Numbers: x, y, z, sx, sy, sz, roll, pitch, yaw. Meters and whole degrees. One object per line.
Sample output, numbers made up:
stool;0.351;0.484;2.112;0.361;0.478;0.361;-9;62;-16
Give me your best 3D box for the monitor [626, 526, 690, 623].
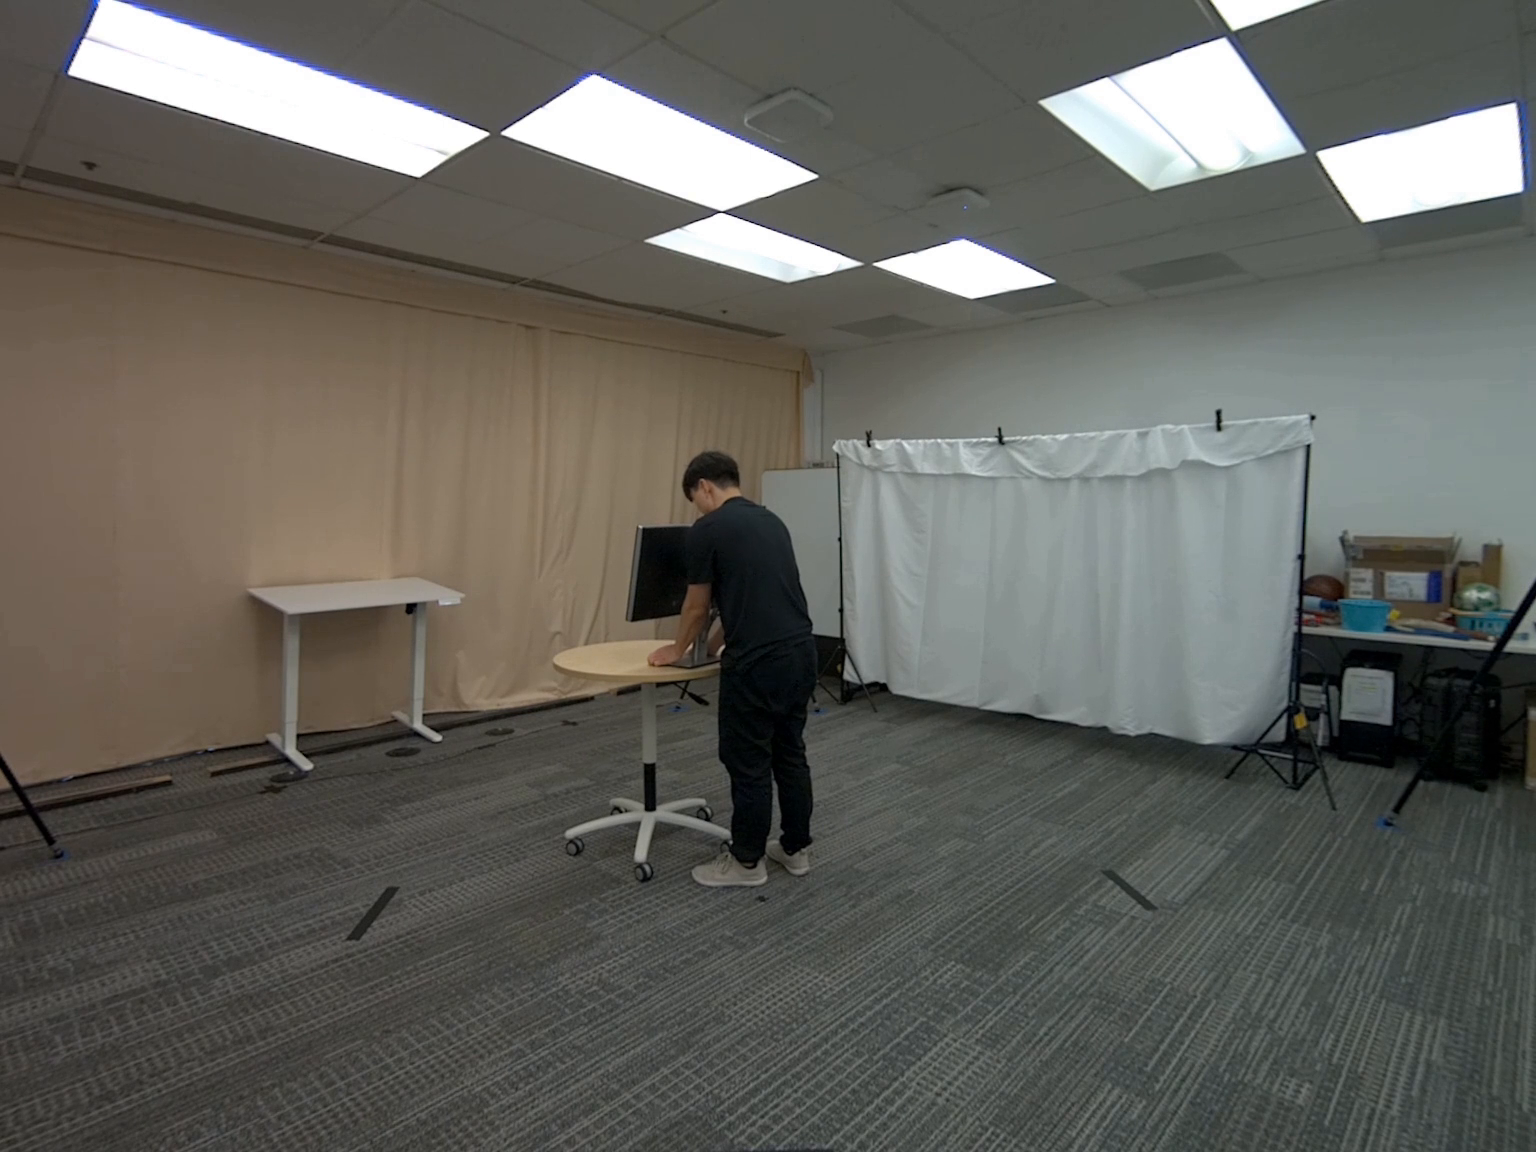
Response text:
monitor;-0.307;0.070;3.293;0.193;0.522;0.523;2;4;36
